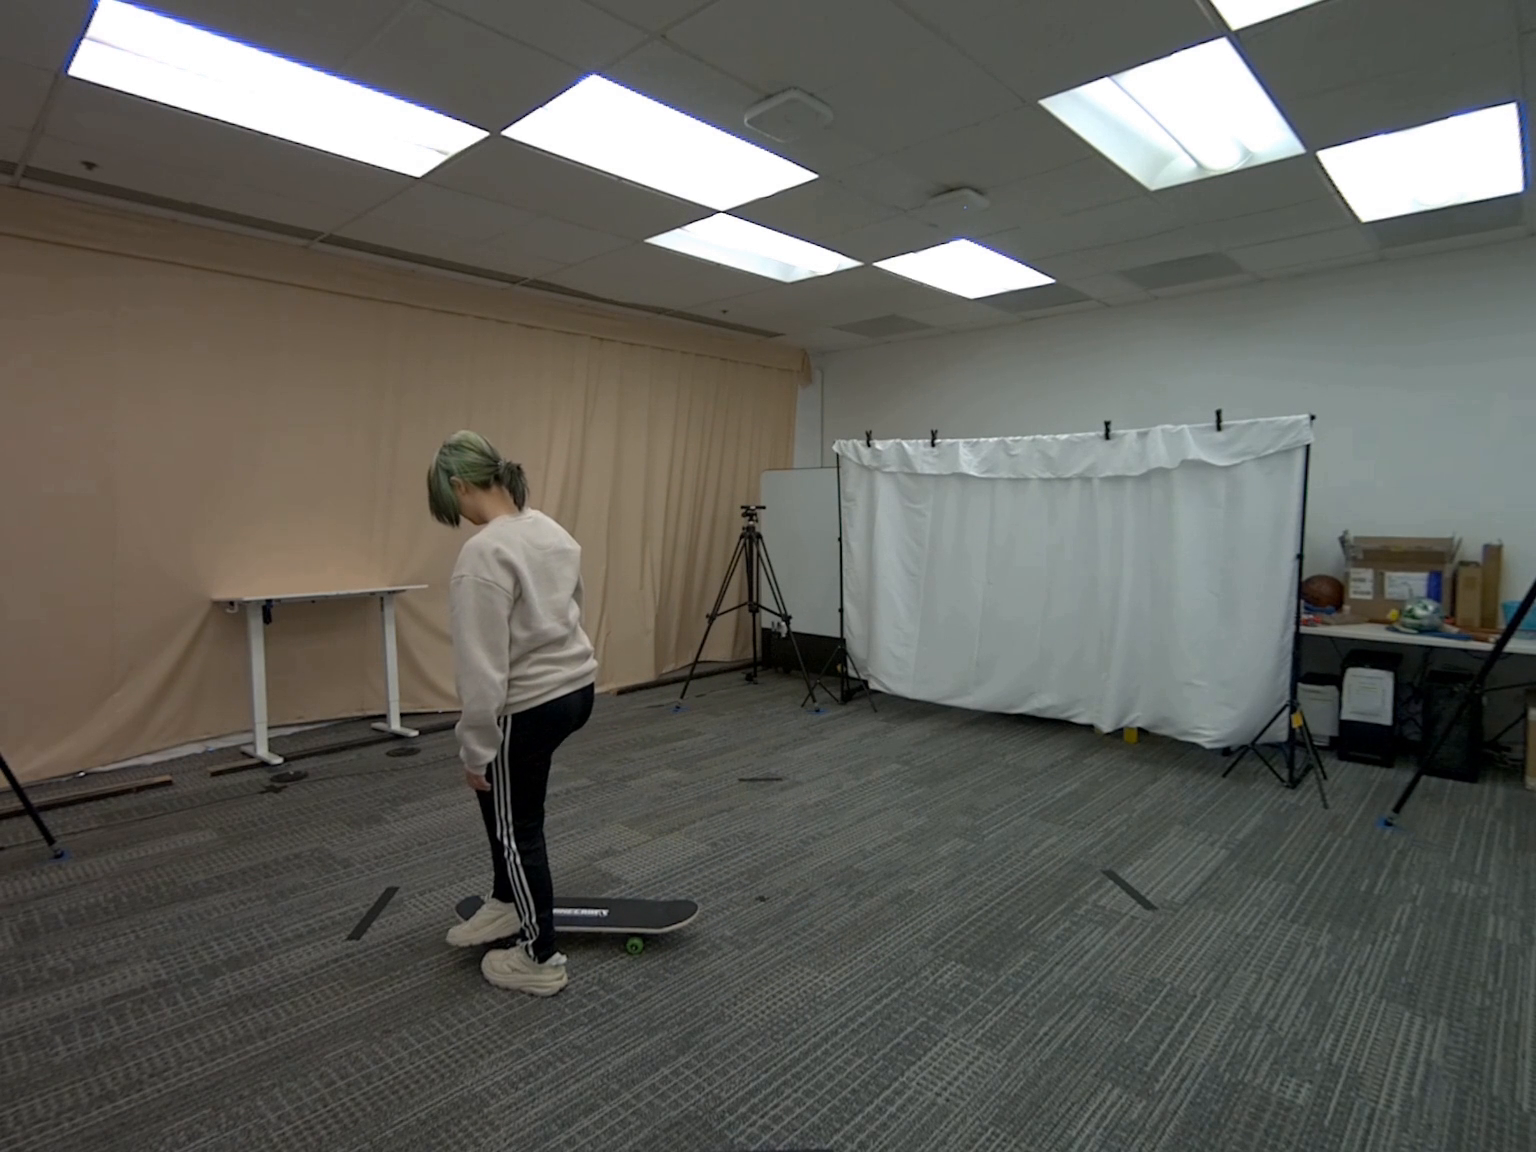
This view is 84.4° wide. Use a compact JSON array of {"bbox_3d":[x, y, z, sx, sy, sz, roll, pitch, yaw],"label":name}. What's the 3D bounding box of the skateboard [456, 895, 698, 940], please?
[{"bbox_3d":[-0.604,1.112,2.708,0.789,0.110,0.193,0,6,4],"label":"skateboard"}]
